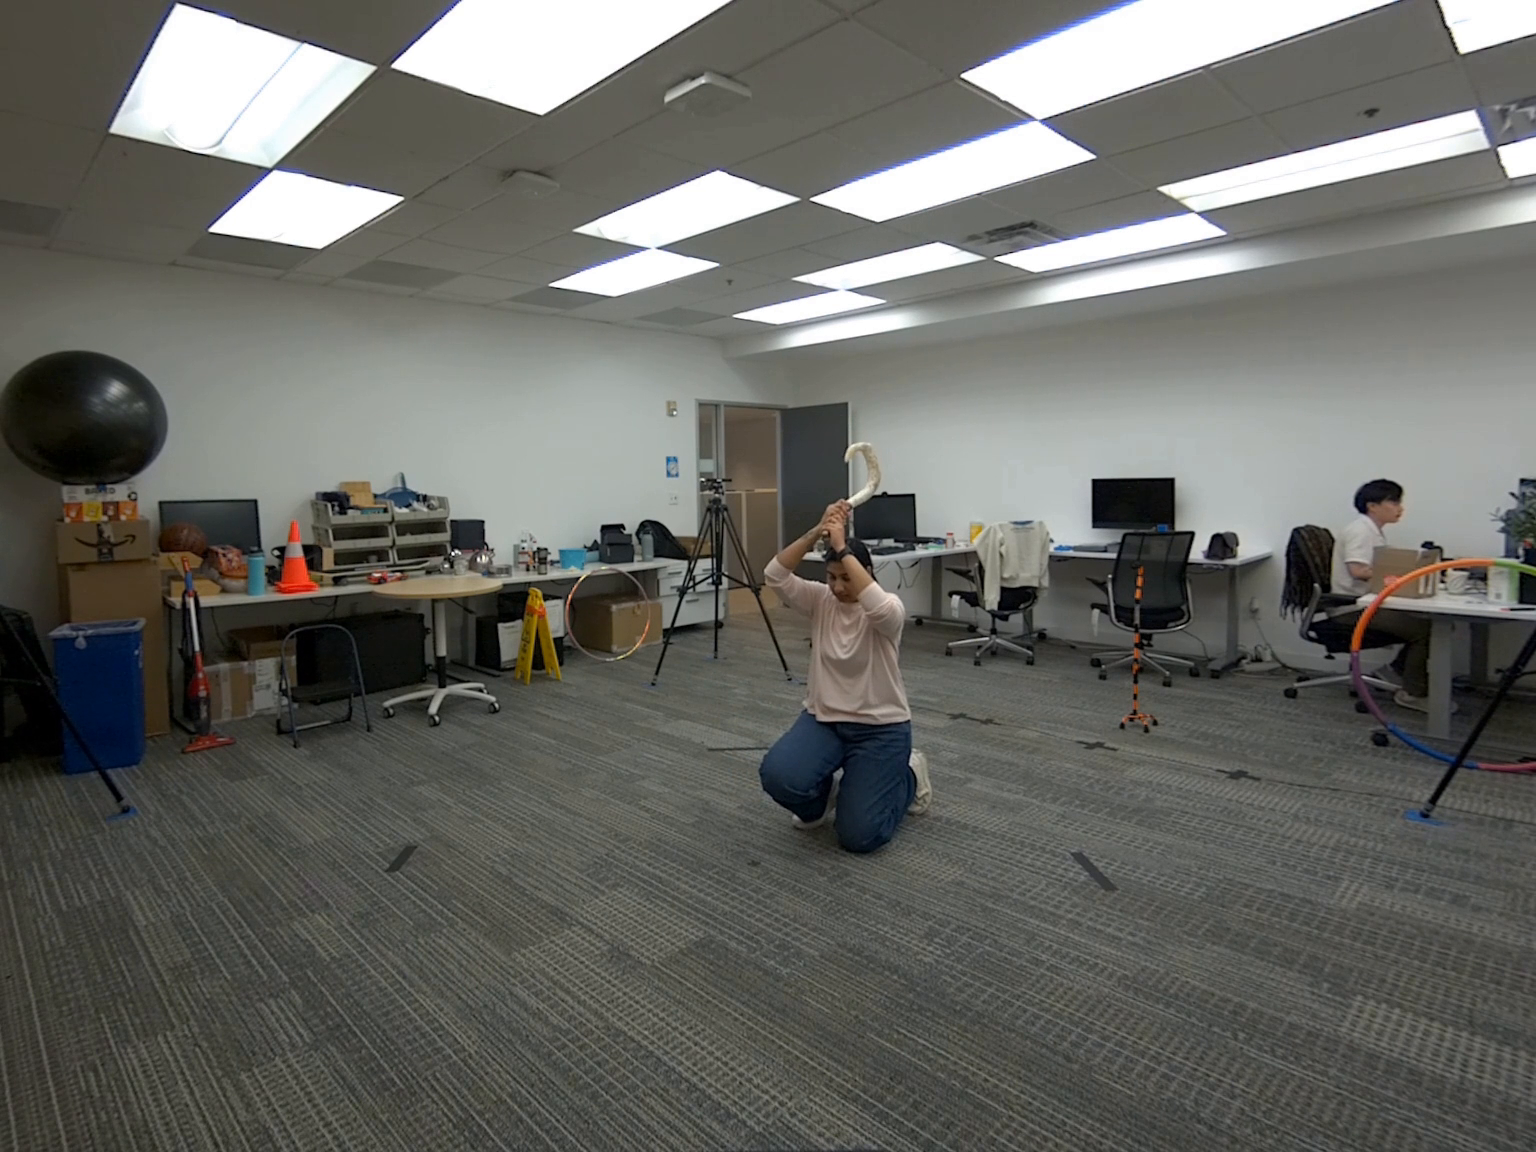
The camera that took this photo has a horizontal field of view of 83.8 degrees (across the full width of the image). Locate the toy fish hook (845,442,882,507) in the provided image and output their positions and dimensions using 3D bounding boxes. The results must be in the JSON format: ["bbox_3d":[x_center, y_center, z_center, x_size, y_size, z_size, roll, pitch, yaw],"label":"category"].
[{"bbox_3d":[0.297,-0.334,3.215,0.049,0.218,0.508,-10,31,40],"label":"toy fish hook"}]
